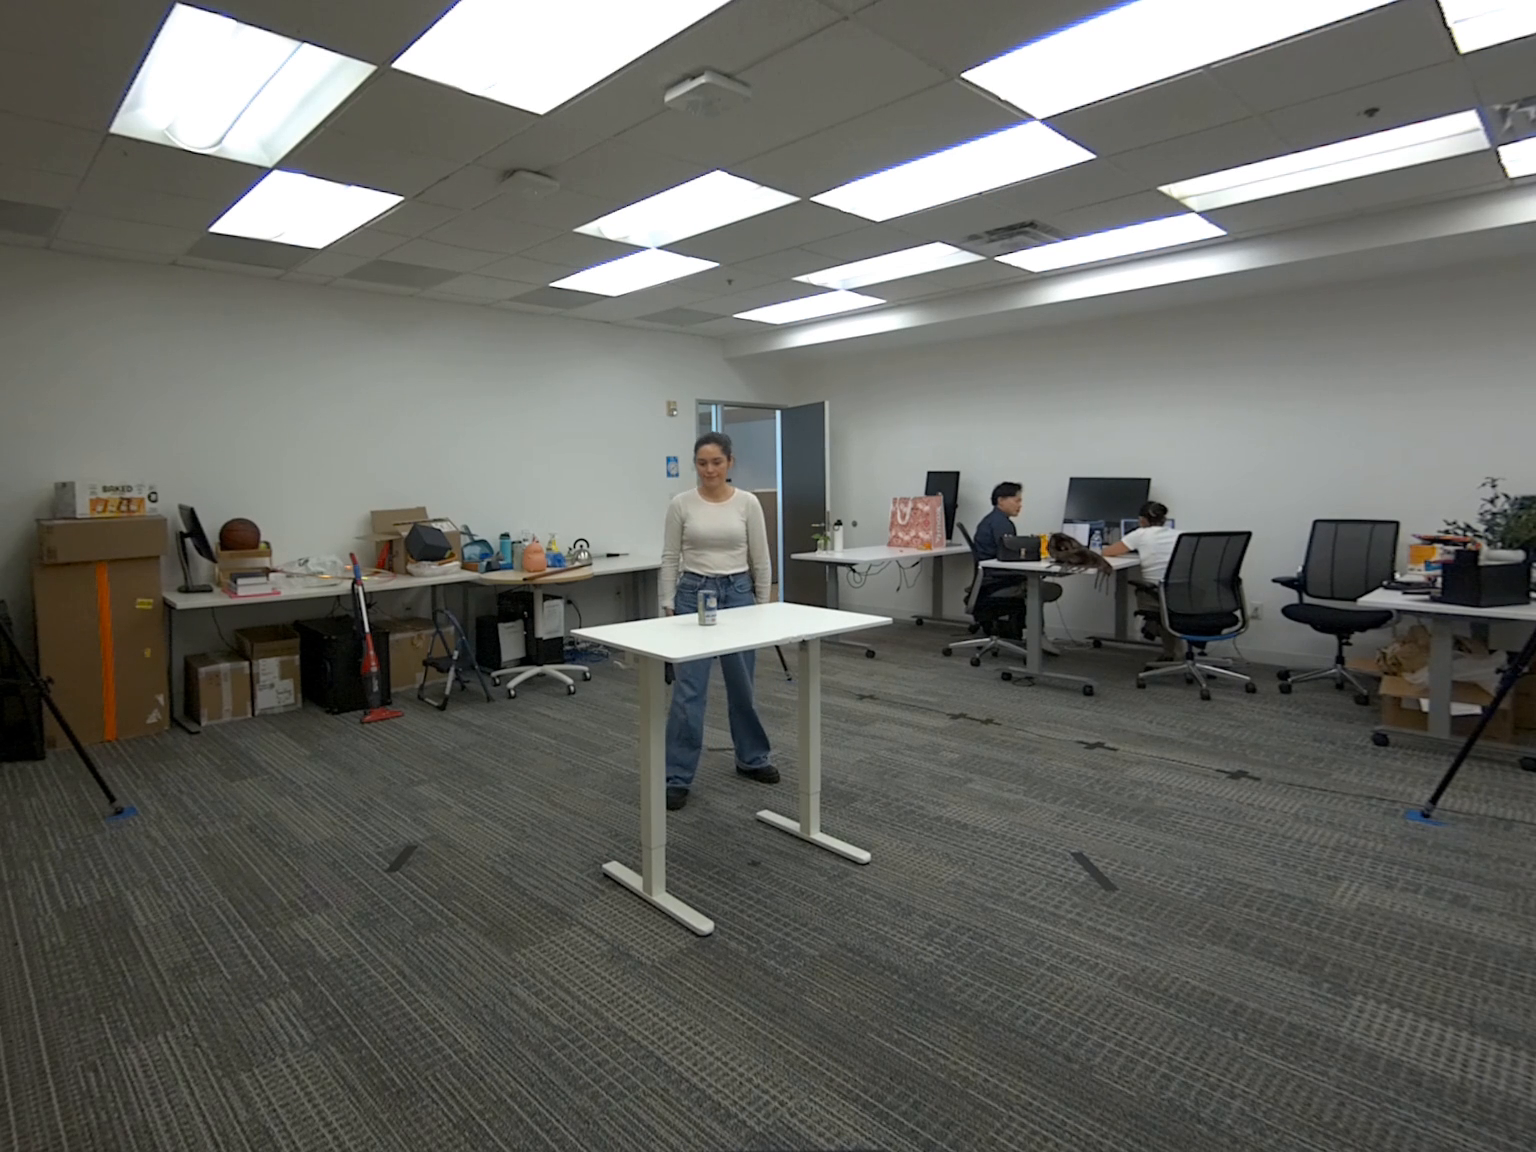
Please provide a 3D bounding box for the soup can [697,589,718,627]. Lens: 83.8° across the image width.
[{"bbox_3d":[-0.221,0.115,3.032,0.067,0.121,0.067,-1,3,-2],"label":"soup can"}]
